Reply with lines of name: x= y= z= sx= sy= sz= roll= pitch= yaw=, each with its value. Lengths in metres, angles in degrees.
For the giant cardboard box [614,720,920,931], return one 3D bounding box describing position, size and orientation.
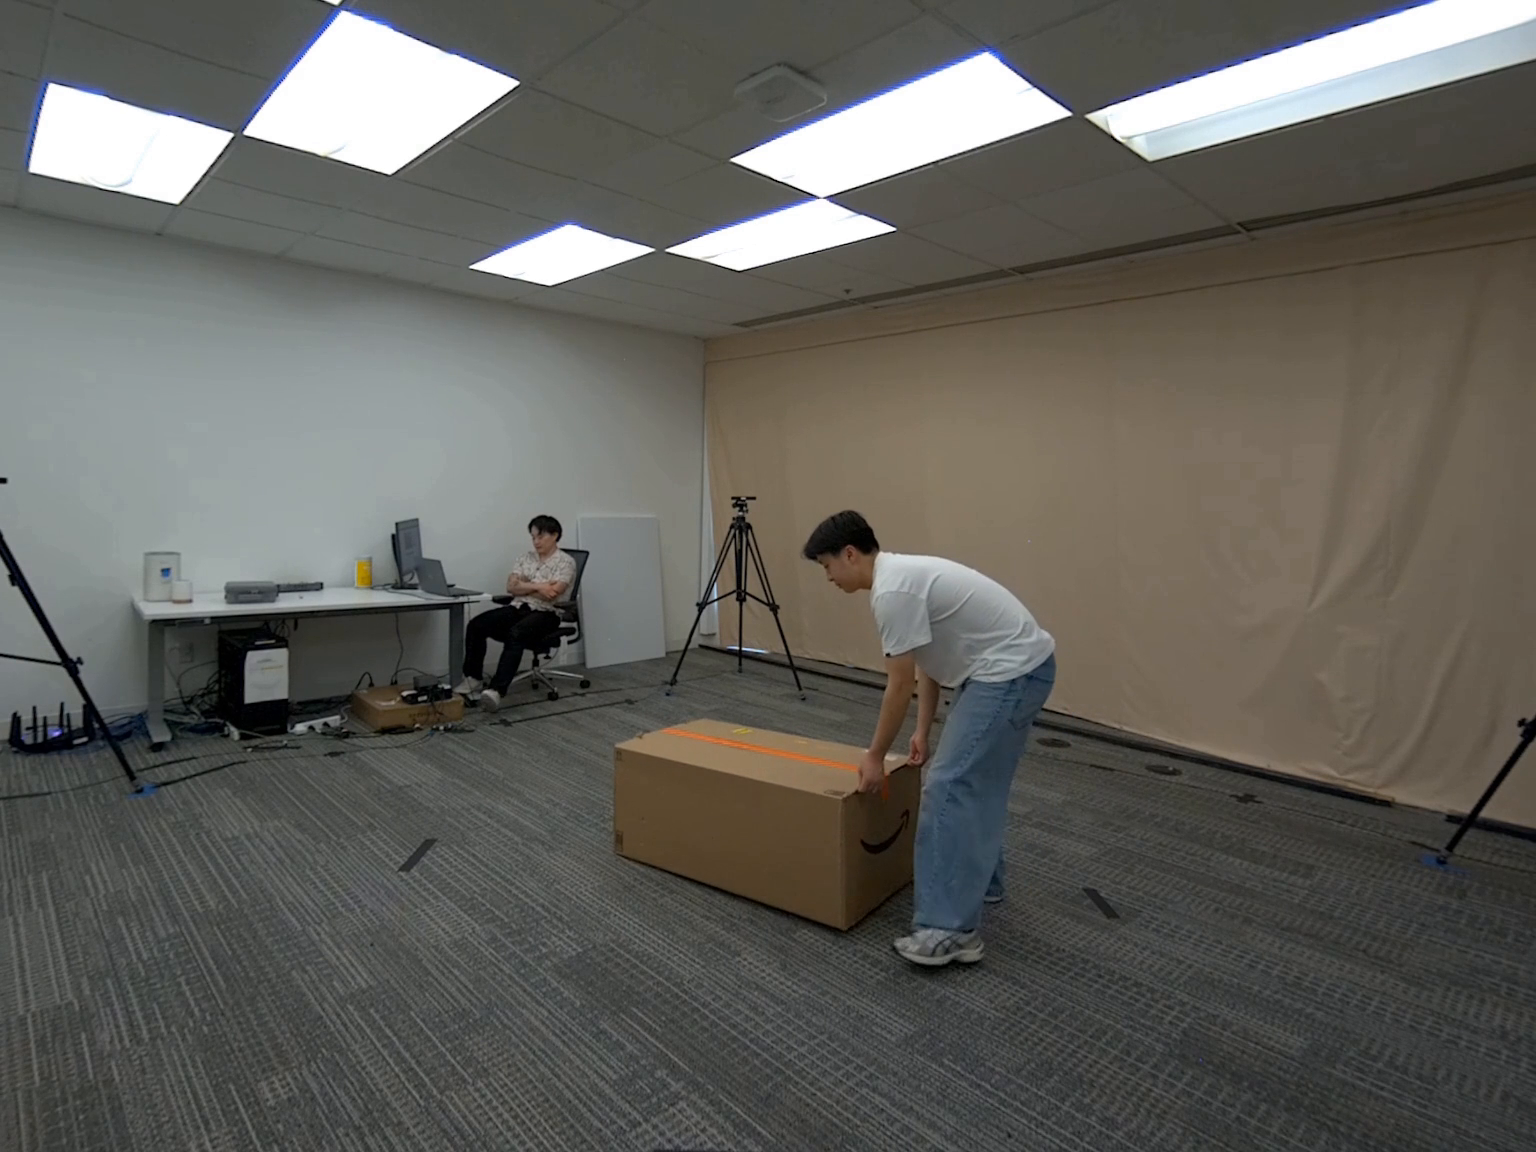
giant cardboard box: x=-0.024 y=0.872 z=3.175 sx=1.050 sy=0.425 sz=0.565 roll=3 pitch=3 yaw=36
